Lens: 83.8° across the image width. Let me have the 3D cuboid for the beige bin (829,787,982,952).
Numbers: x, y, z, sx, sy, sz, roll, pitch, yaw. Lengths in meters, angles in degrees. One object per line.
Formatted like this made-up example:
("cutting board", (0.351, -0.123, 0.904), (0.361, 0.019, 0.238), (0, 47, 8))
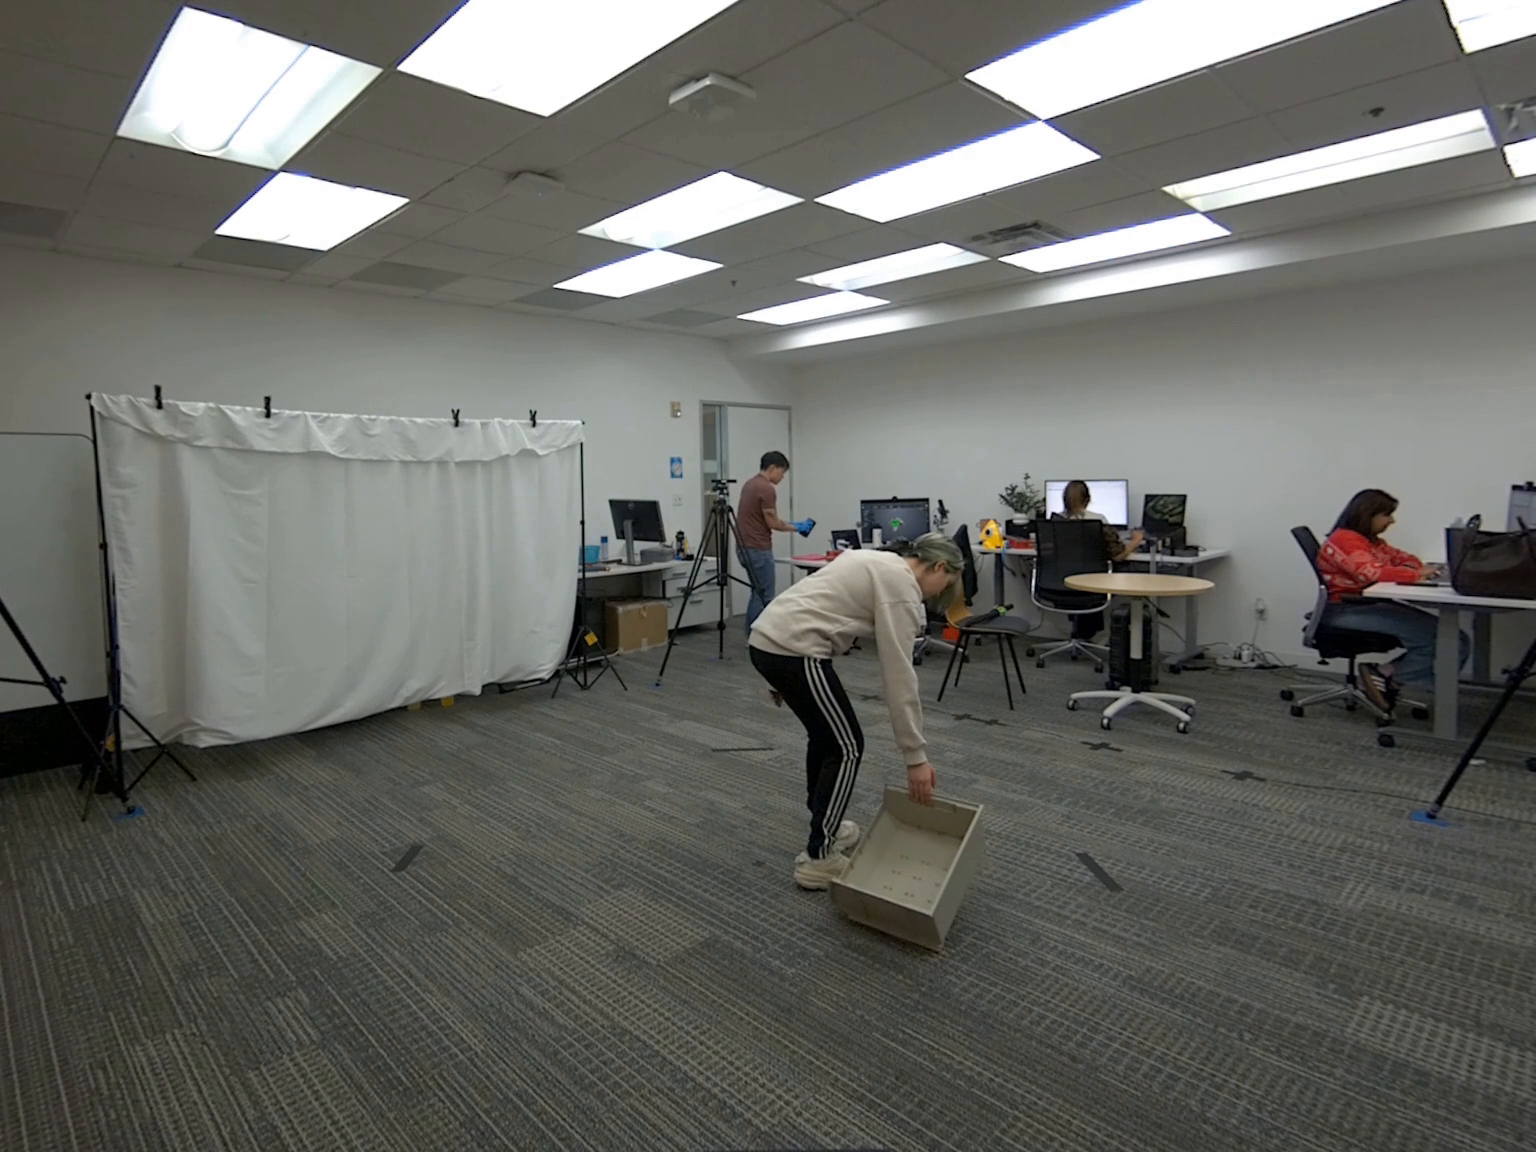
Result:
("beige bin", (0.446, 0.904, 2.710), (0.389, 0.184, 0.421), (4, 36, 37))
